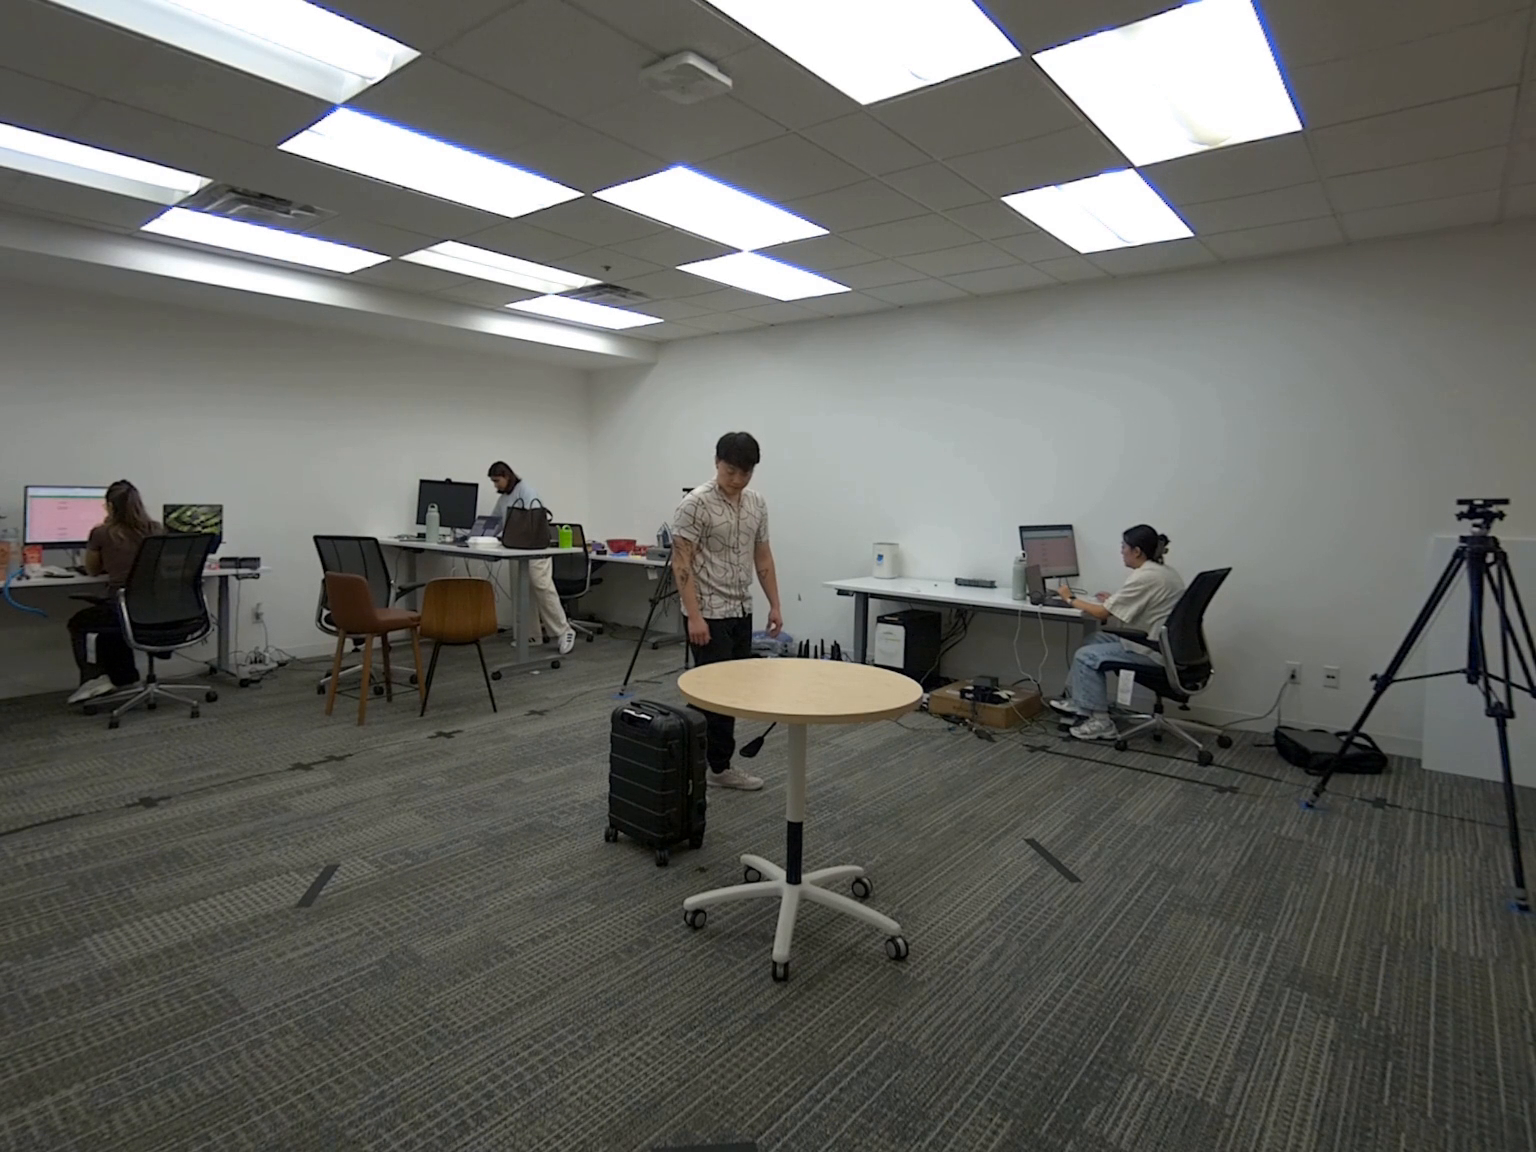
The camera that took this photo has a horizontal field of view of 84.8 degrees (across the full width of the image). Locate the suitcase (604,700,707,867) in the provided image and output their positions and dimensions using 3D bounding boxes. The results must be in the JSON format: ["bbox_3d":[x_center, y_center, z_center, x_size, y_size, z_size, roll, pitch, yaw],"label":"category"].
[{"bbox_3d":[-0.447,0.768,3.328,0.388,0.549,0.240,3,2,44],"label":"suitcase"}]
